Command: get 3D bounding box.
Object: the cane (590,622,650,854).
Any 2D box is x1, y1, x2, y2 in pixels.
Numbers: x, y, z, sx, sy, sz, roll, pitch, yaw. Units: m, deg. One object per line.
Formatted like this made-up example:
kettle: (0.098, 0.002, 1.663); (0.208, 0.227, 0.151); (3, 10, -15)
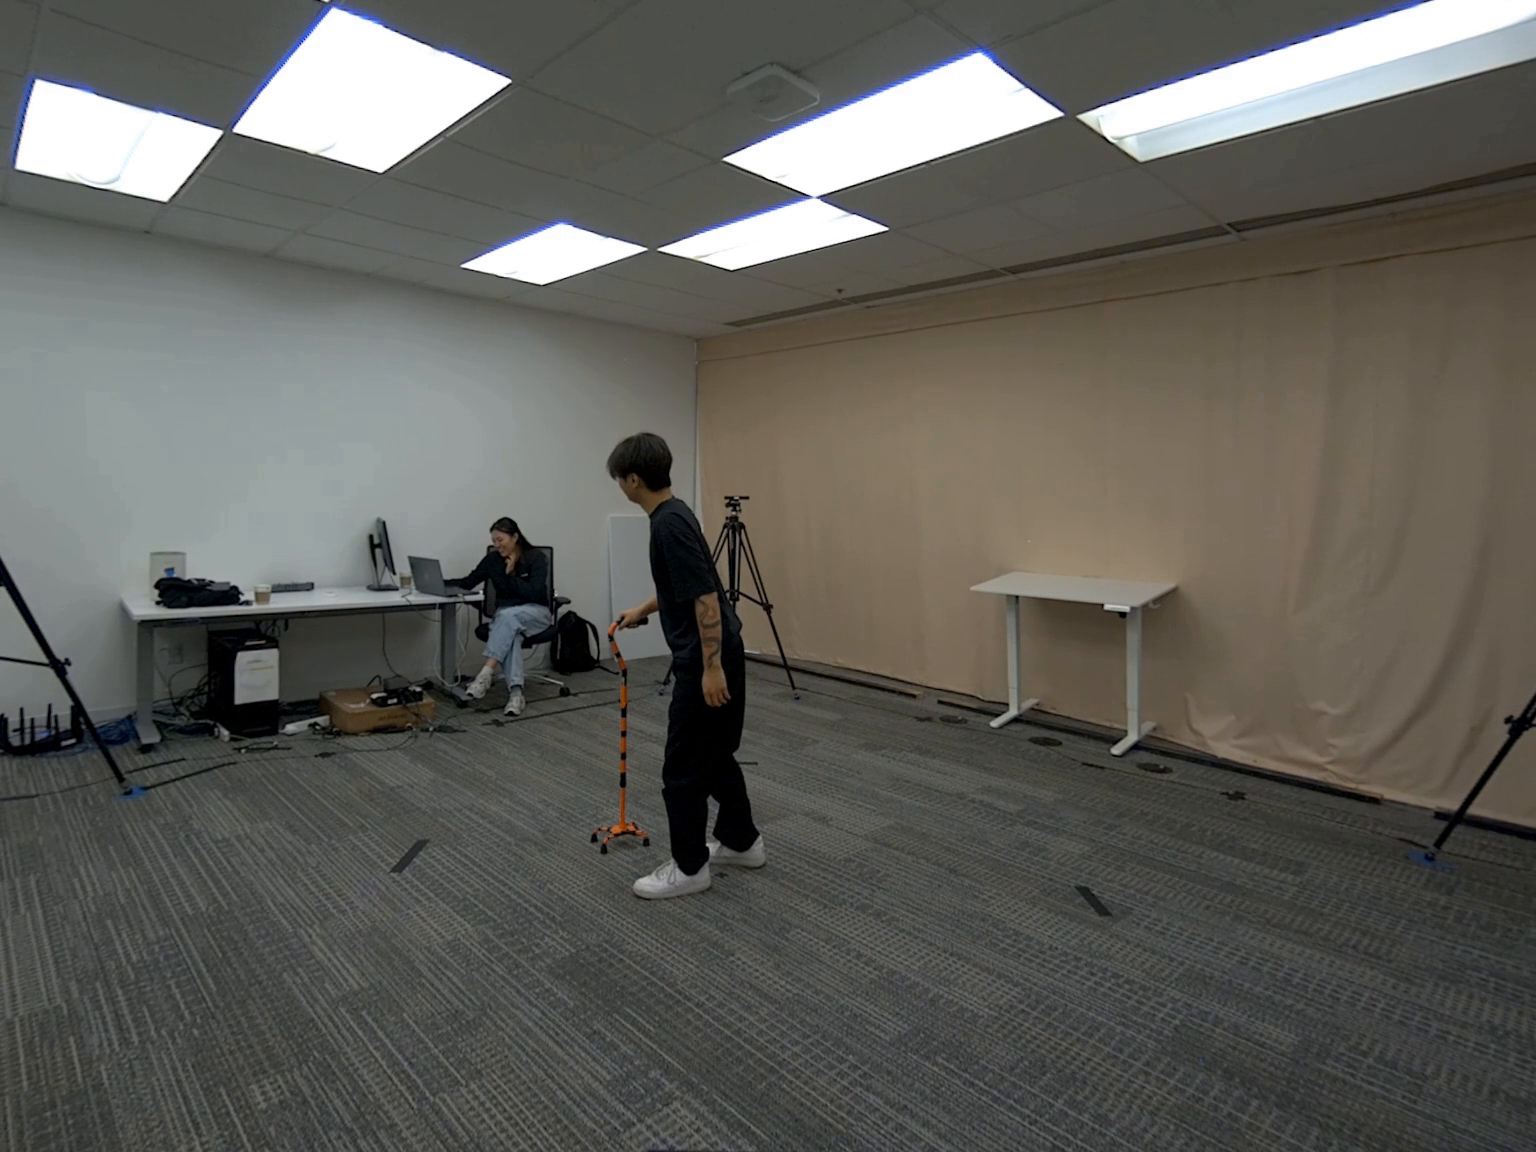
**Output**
cane: (-0.589, 0.619, 3.343); (0.202, 0.906, 0.155); (-1, 3, -28)
